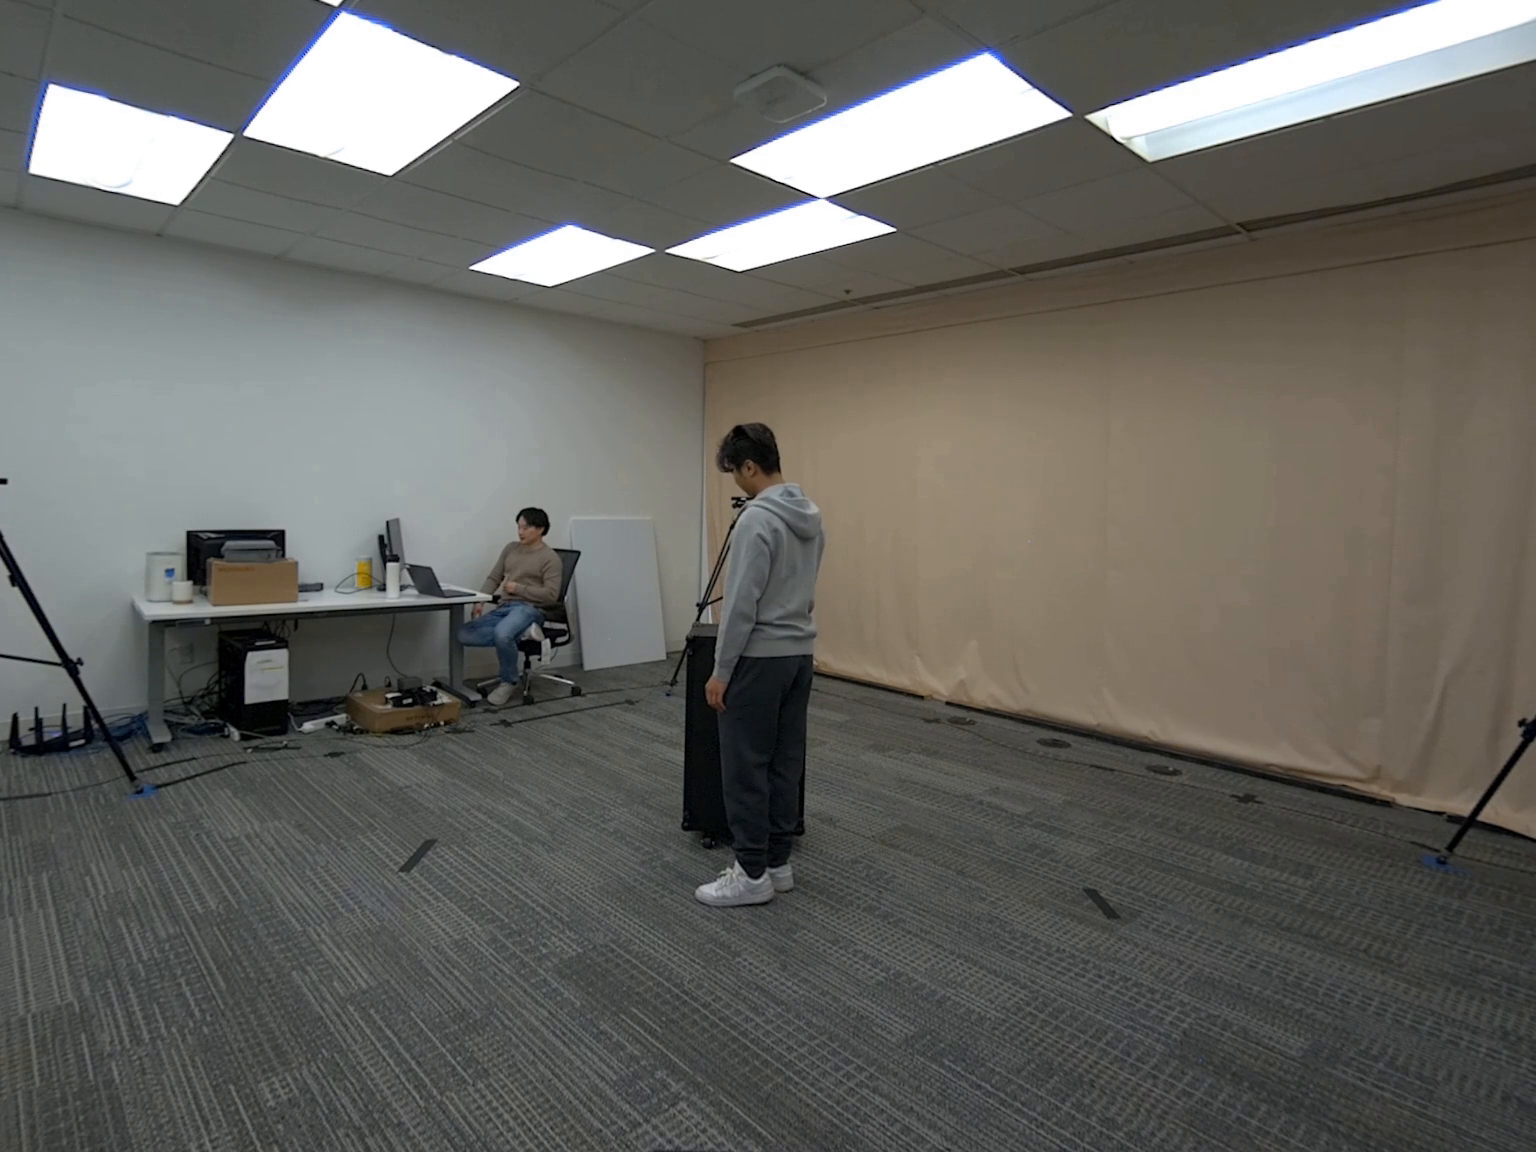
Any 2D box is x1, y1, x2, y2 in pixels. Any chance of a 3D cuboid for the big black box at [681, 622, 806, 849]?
[{"bbox_3d":[-0.094,0.659,3.475,0.522,0.859,0.397,3,4,1],"label":"big black box"}]
